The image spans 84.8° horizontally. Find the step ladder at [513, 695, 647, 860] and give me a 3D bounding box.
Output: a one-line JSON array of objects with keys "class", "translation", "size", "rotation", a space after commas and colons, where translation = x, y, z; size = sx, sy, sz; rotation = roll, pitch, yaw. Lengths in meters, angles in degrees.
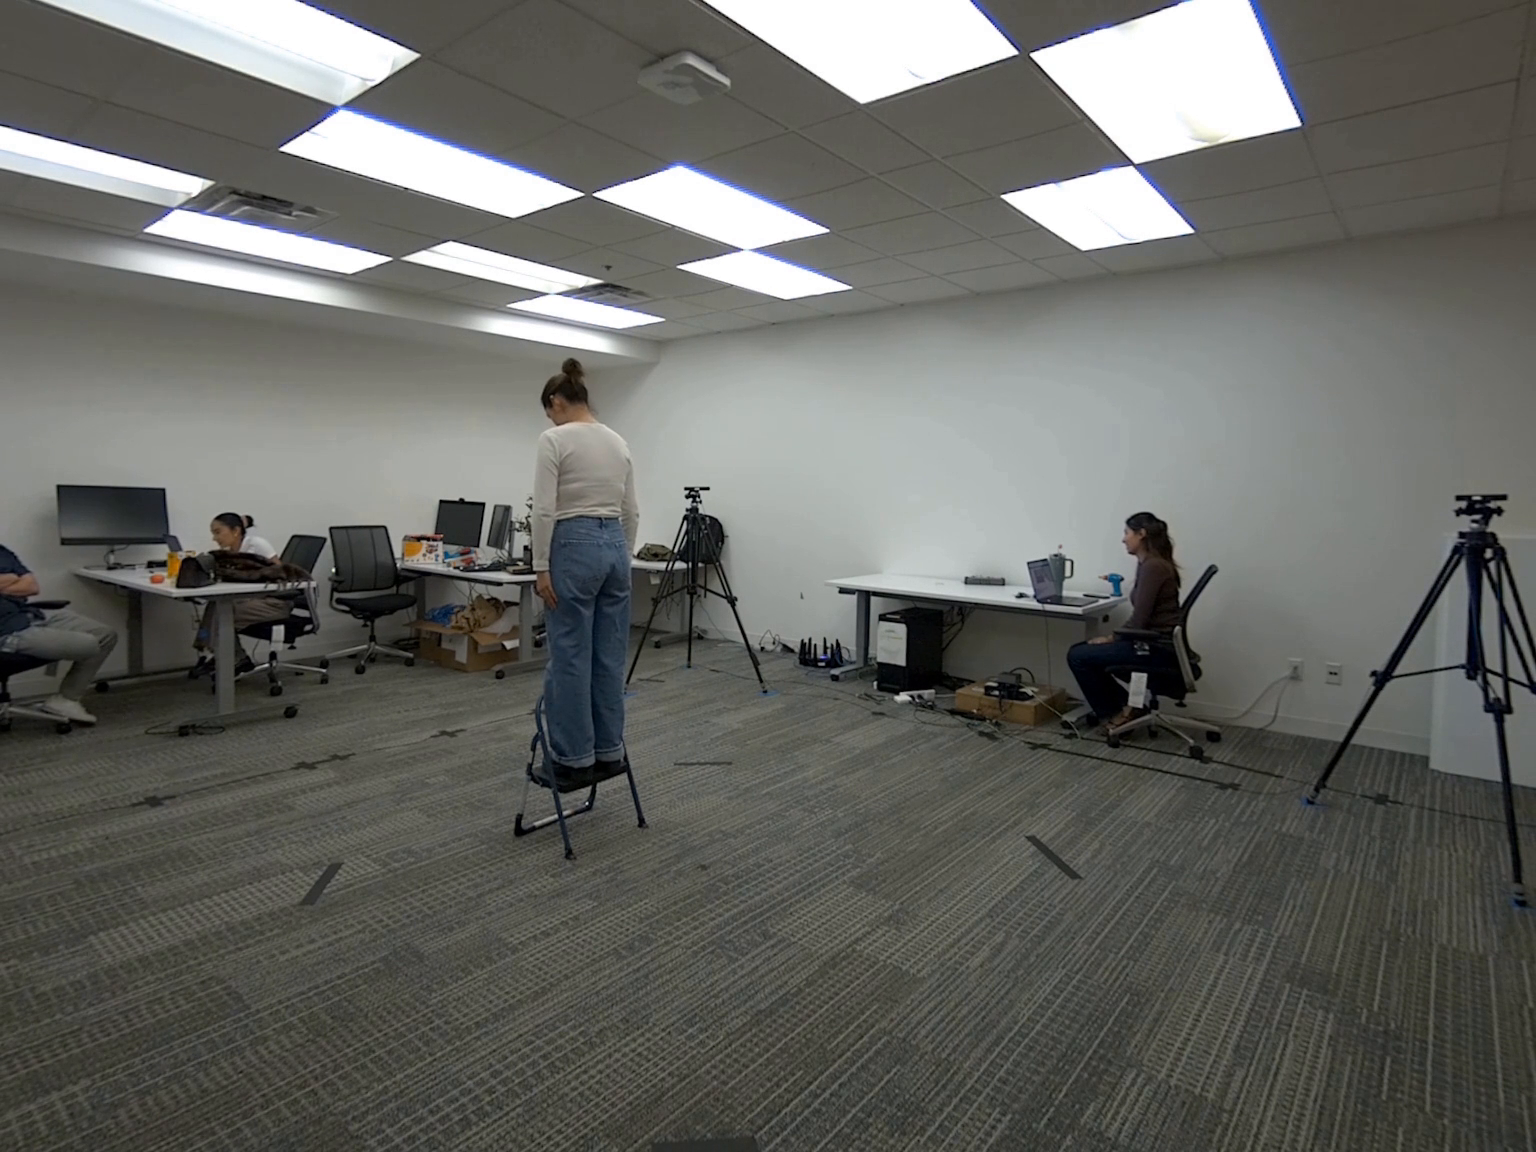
[{"class": "step ladder", "translation": [-0.760, 0.726, 3.423], "size": [0.360, 0.605, 0.418], "rotation": [2, 3, 36]}]
